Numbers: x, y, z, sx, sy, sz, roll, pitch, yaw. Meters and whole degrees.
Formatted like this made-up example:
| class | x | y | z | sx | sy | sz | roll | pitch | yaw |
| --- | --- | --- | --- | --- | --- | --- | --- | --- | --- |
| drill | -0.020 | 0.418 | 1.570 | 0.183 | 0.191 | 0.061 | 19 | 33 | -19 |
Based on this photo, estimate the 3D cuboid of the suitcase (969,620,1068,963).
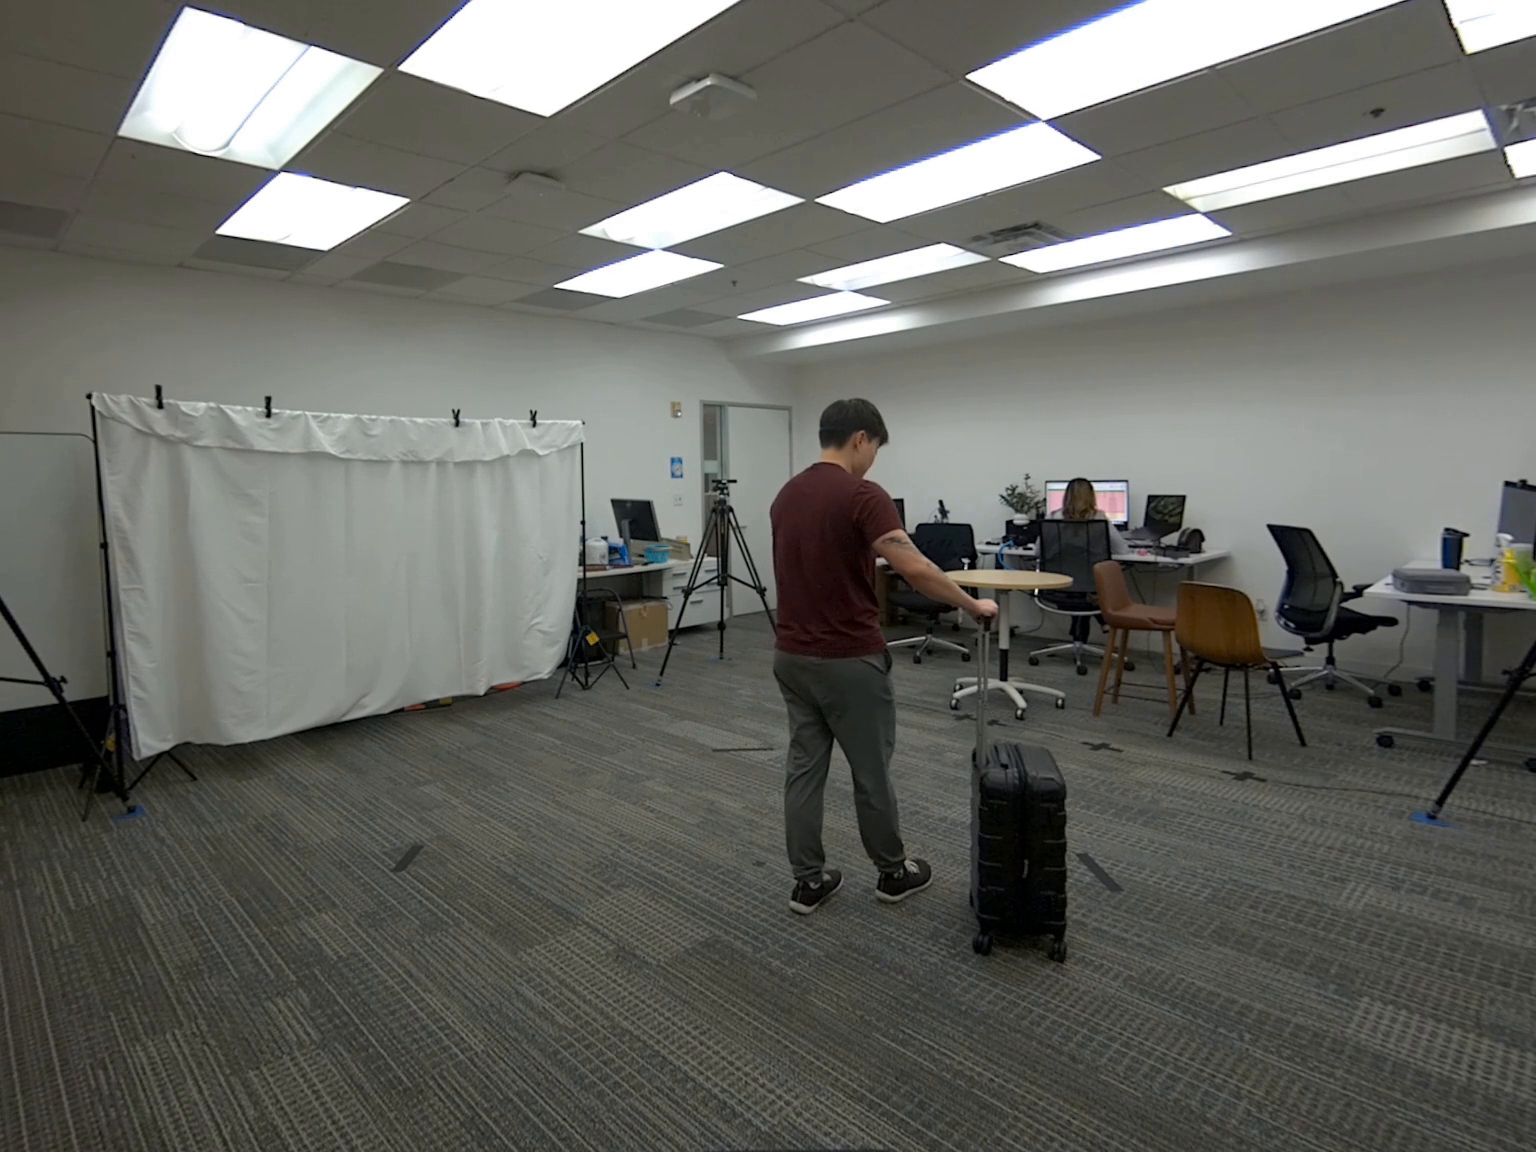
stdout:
| class | x | y | z | sx | sy | sz | roll | pitch | yaw |
| --- | --- | --- | --- | --- | --- | --- | --- | --- | --- |
| suitcase | 0.774 | 0.613 | 2.614 | 0.259 | 0.976 | 0.382 | 2 | 3 | 7 |
